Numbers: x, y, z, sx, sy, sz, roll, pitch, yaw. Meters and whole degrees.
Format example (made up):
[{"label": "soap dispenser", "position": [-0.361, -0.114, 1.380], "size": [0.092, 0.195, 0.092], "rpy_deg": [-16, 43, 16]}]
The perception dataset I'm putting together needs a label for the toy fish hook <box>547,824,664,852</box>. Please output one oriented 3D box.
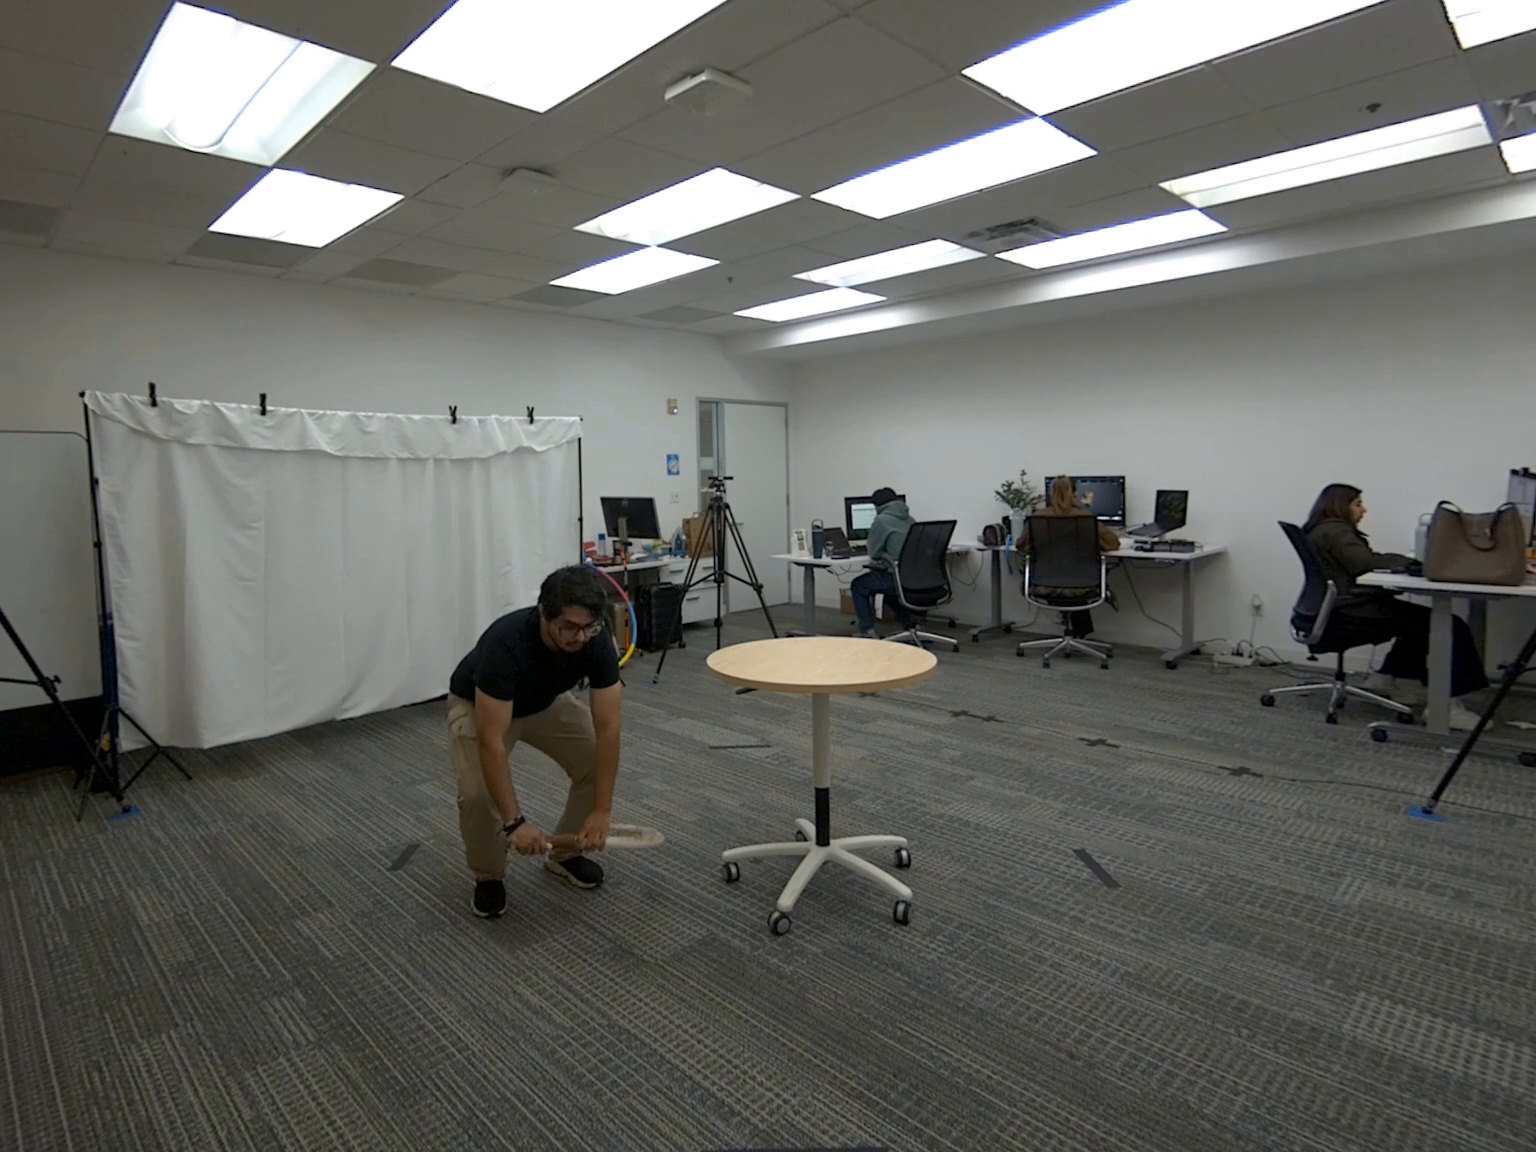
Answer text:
[{"label": "toy fish hook", "position": [-0.588, 0.840, 2.759], "size": [0.495, 0.048, 0.228], "rpy_deg": [6, -7, -22]}]
